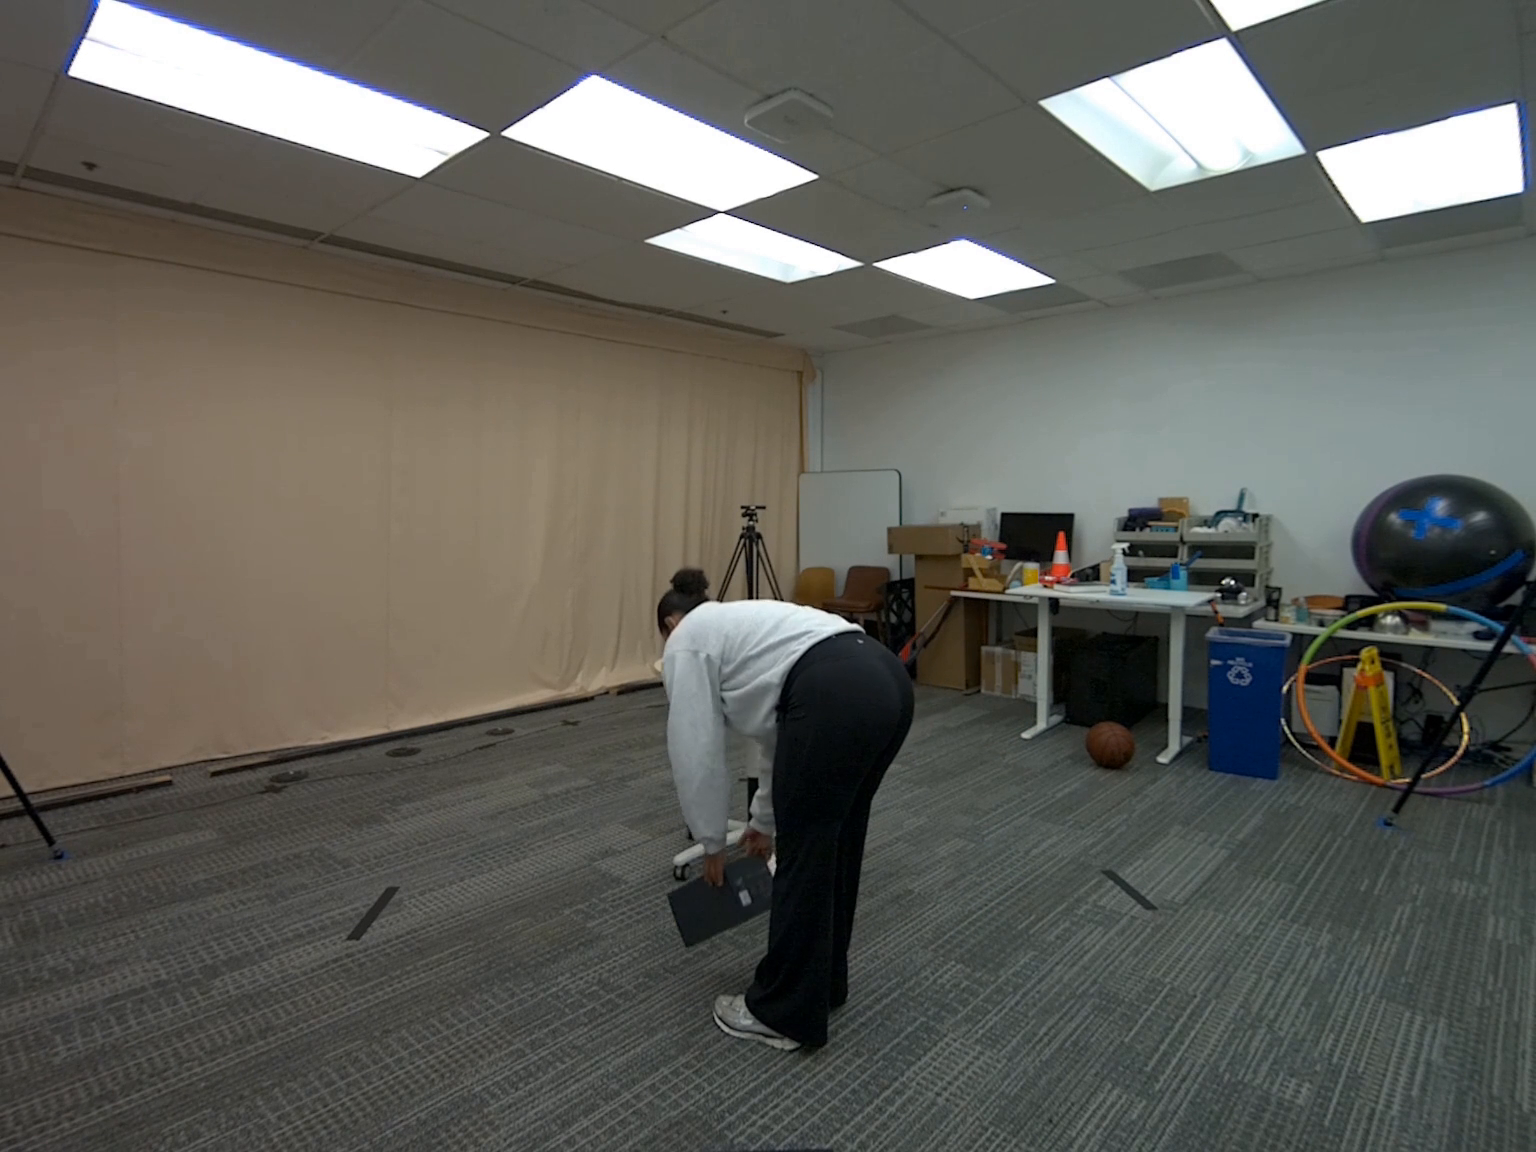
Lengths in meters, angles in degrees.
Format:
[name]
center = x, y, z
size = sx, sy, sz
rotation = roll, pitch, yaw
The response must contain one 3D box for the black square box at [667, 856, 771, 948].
[black square box]
center = -0.129, 0.922, 2.448
size = 0.230, 0.159, 0.210
rotation = -37, -25, 26
